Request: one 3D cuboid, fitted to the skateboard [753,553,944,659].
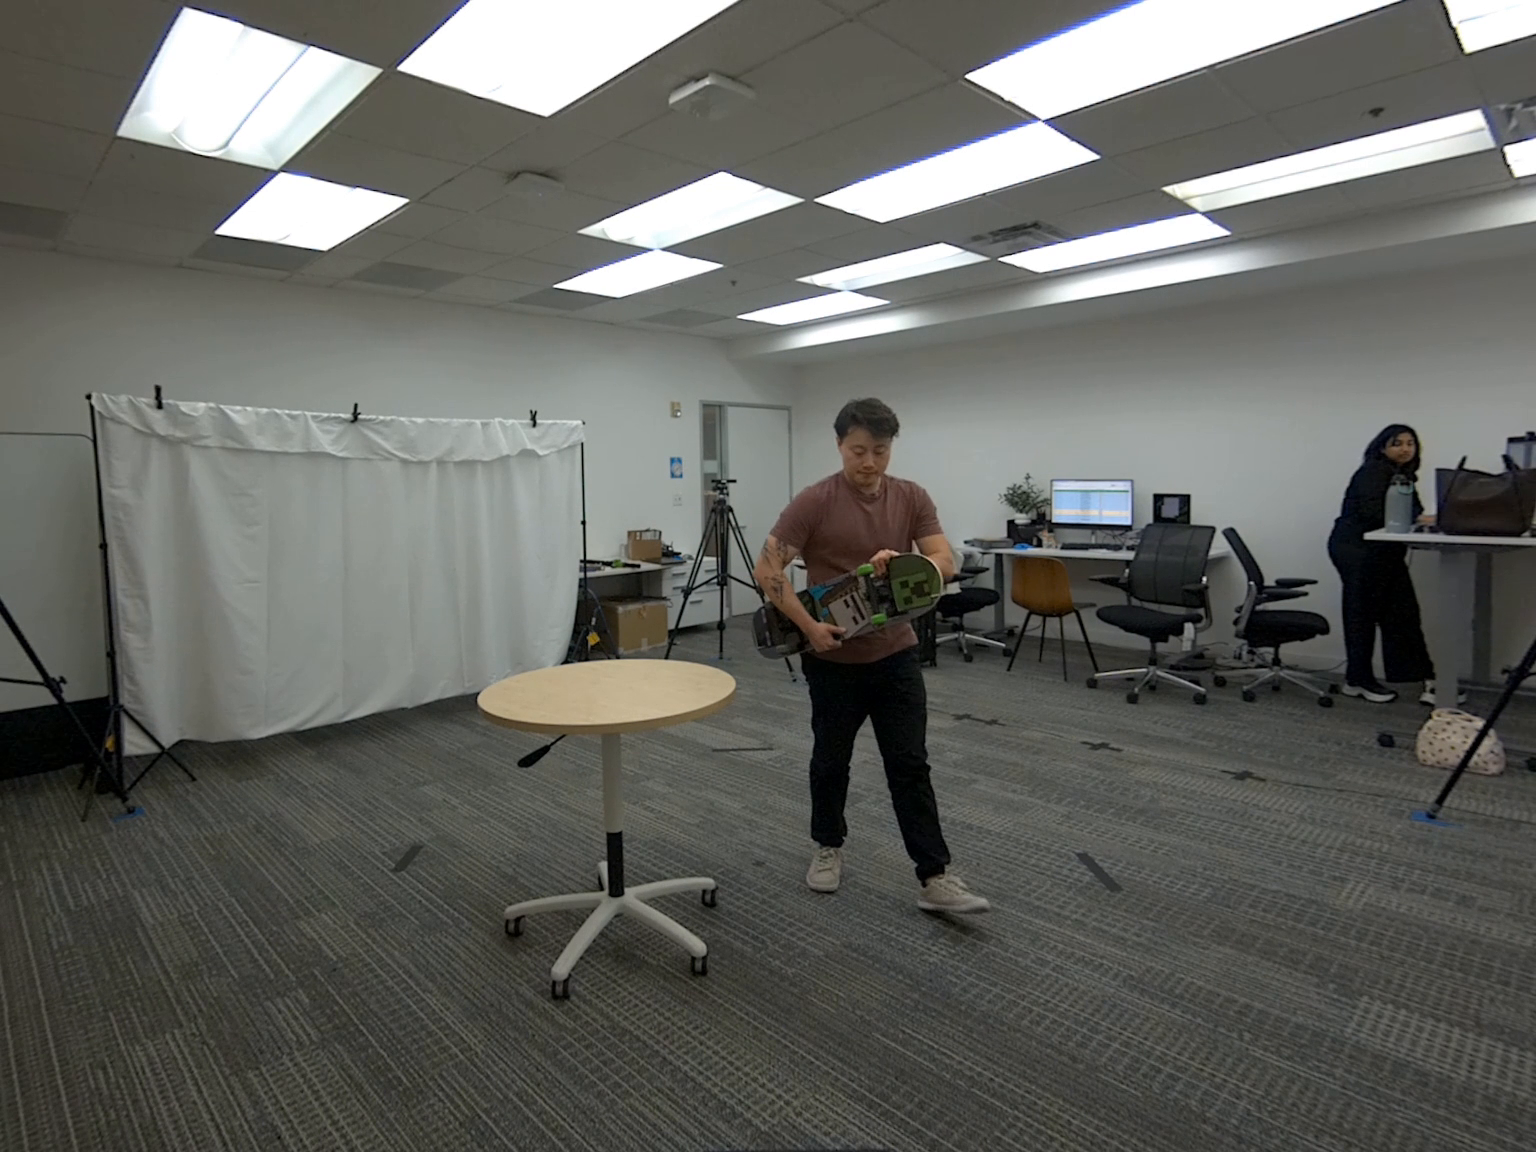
[{"bbox_3d":[0.192,0.110,2.712,0.107,0.196,0.797,-1,-16,-44],"label":"skateboard"}]
